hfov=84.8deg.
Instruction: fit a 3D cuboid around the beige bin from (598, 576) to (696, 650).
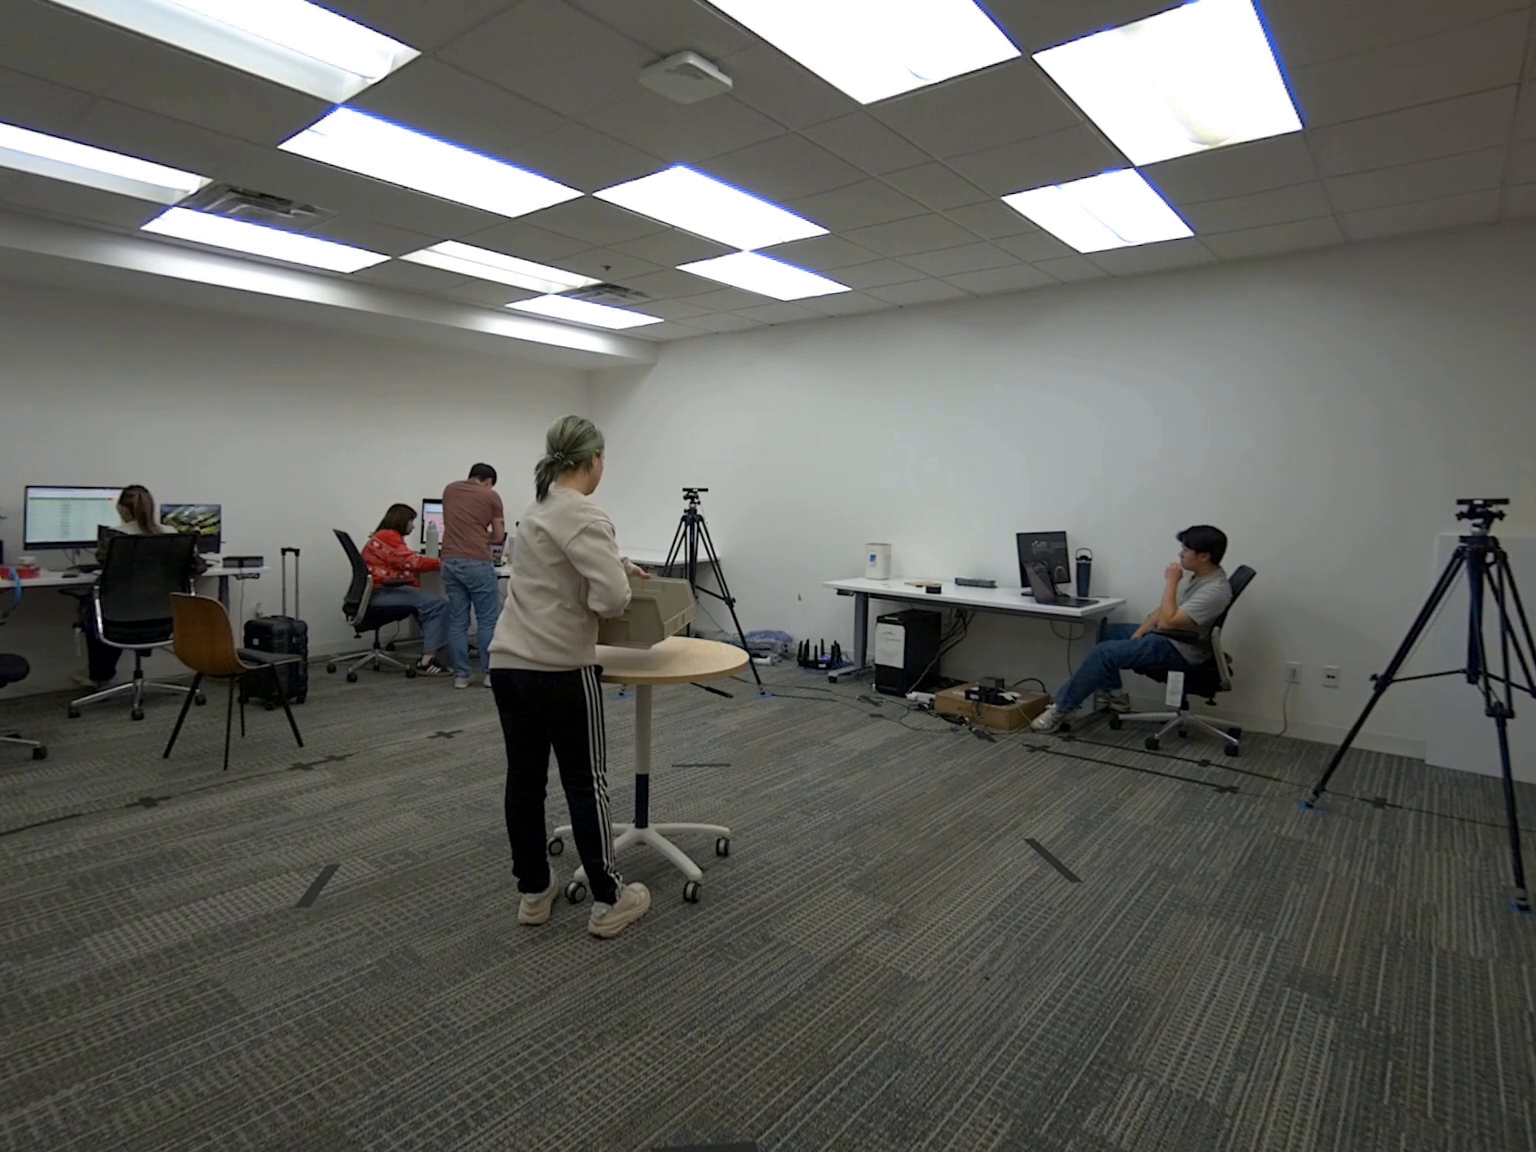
[{"bbox_3d":[-0.493,0.118,3.004,0.382,0.188,0.419,3,8,11],"label":"beige bin"}]
